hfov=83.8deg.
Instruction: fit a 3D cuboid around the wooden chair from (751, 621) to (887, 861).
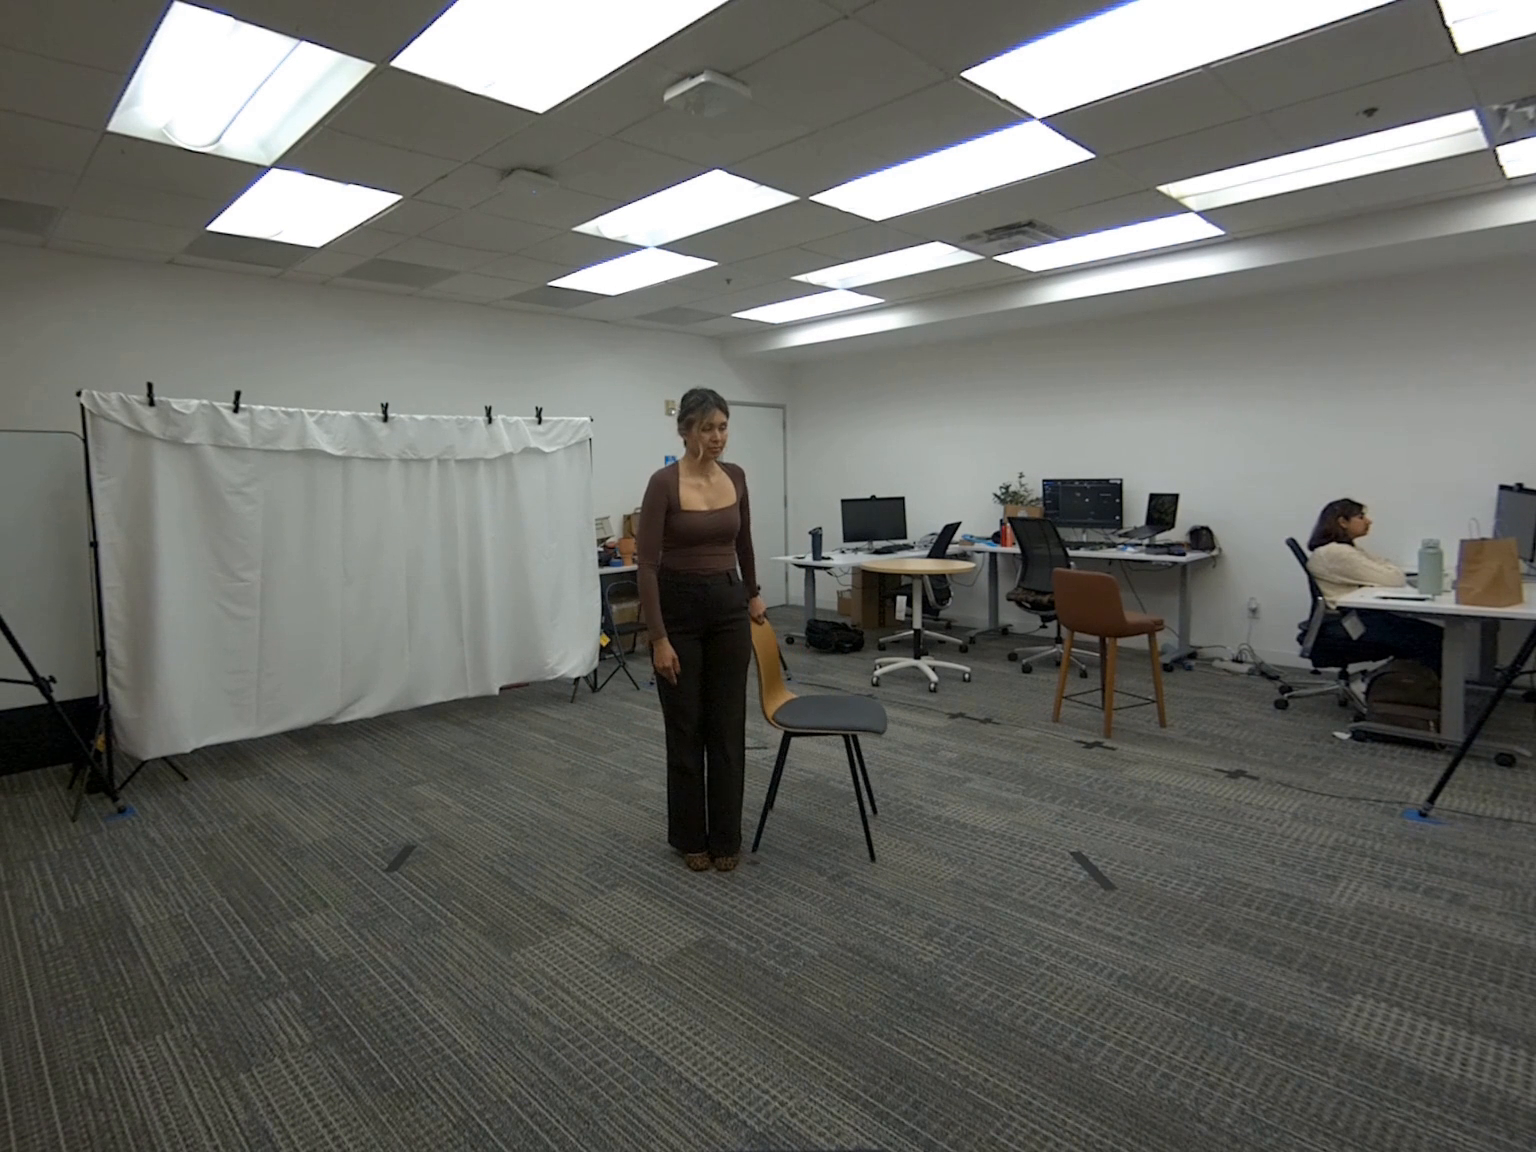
[{"bbox_3d":[0.198,0.583,3.326,0.529,0.875,0.474,-4,3,12],"label":"wooden chair"}]
